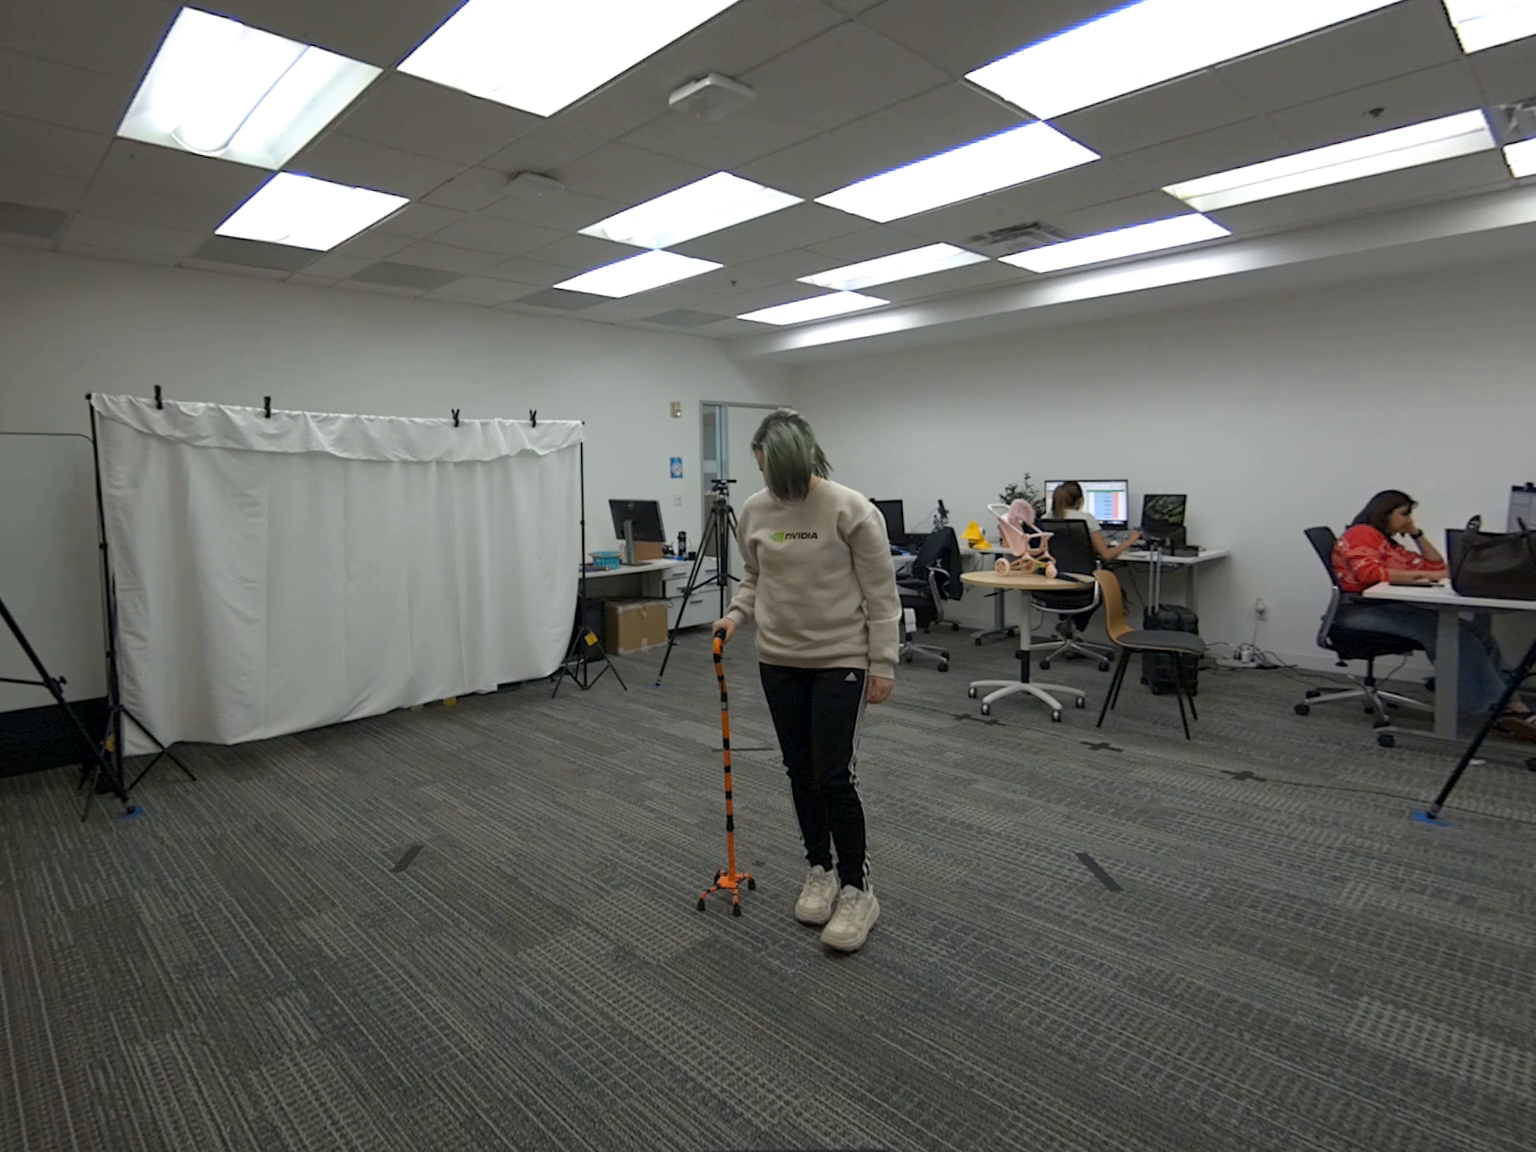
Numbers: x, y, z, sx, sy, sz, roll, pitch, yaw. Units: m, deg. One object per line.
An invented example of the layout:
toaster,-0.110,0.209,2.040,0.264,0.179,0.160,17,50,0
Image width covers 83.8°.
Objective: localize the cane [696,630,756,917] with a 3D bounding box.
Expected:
cane,-0.150,0.622,2.806,0.154,0.903,0.204,-1,6,15
